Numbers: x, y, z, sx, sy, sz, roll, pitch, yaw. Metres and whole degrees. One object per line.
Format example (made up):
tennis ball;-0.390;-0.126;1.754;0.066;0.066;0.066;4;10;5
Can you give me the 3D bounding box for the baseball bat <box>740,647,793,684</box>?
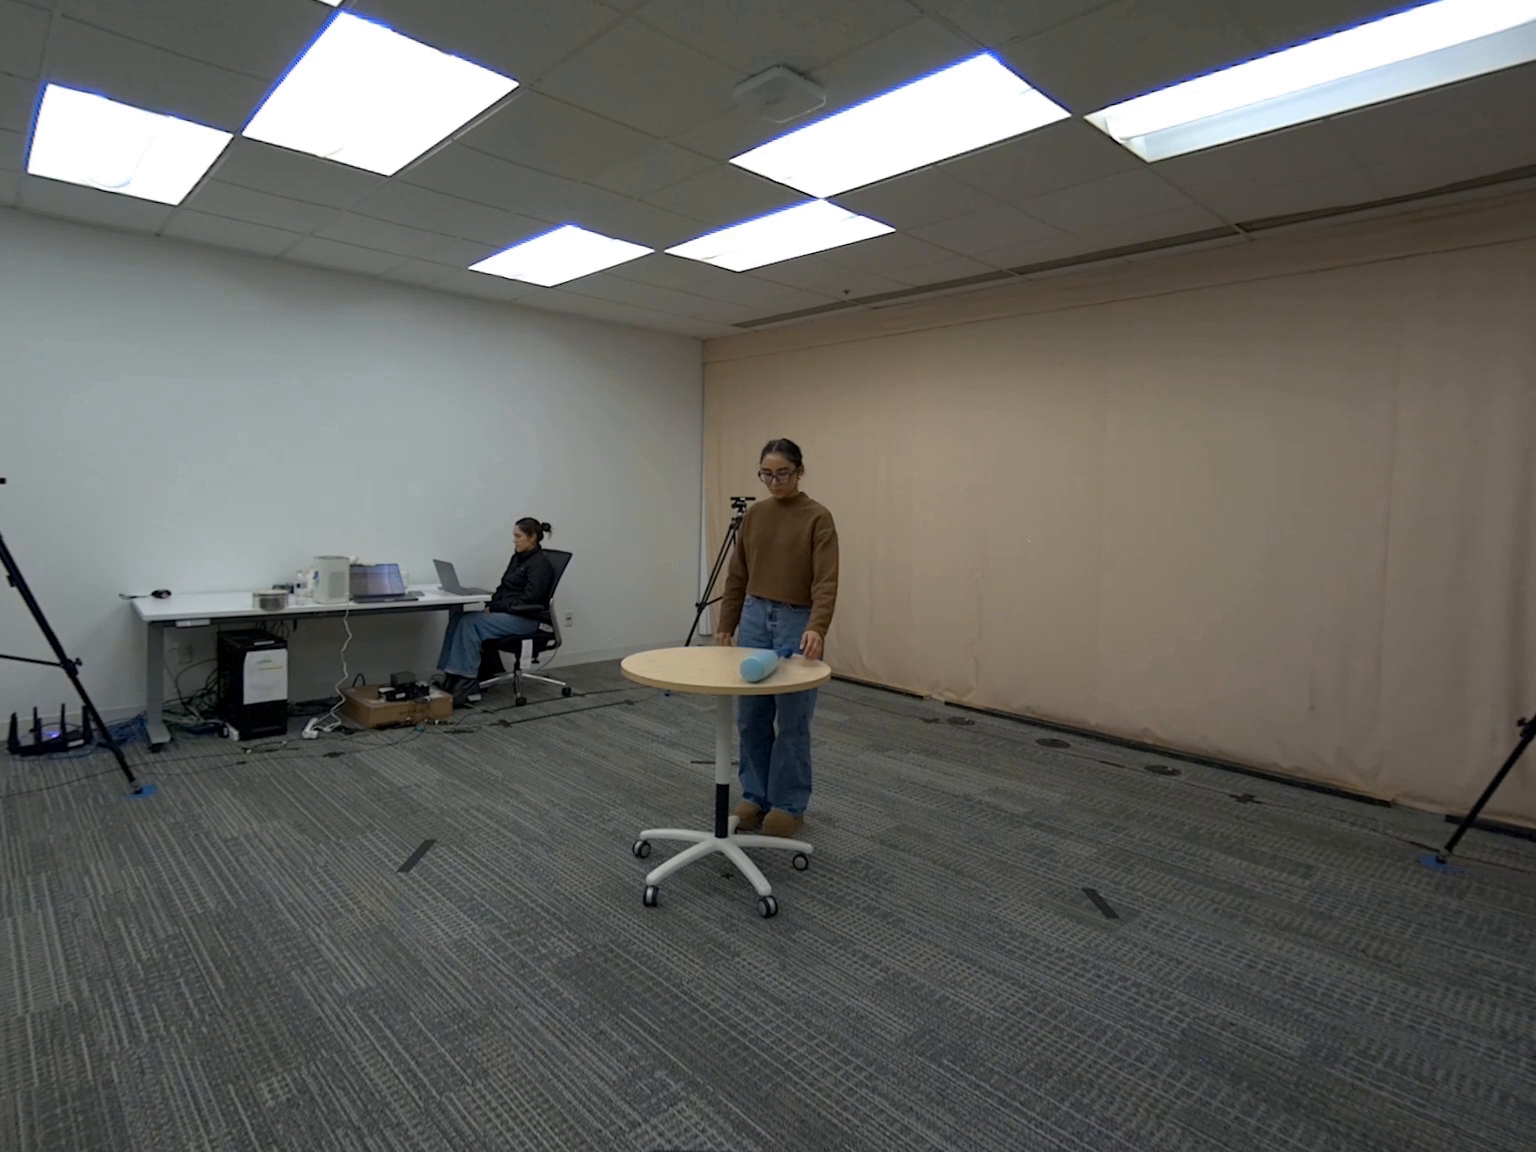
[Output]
baseball bat;0.002;0.303;3.008;0.090;0.089;0.538;2;2;11
